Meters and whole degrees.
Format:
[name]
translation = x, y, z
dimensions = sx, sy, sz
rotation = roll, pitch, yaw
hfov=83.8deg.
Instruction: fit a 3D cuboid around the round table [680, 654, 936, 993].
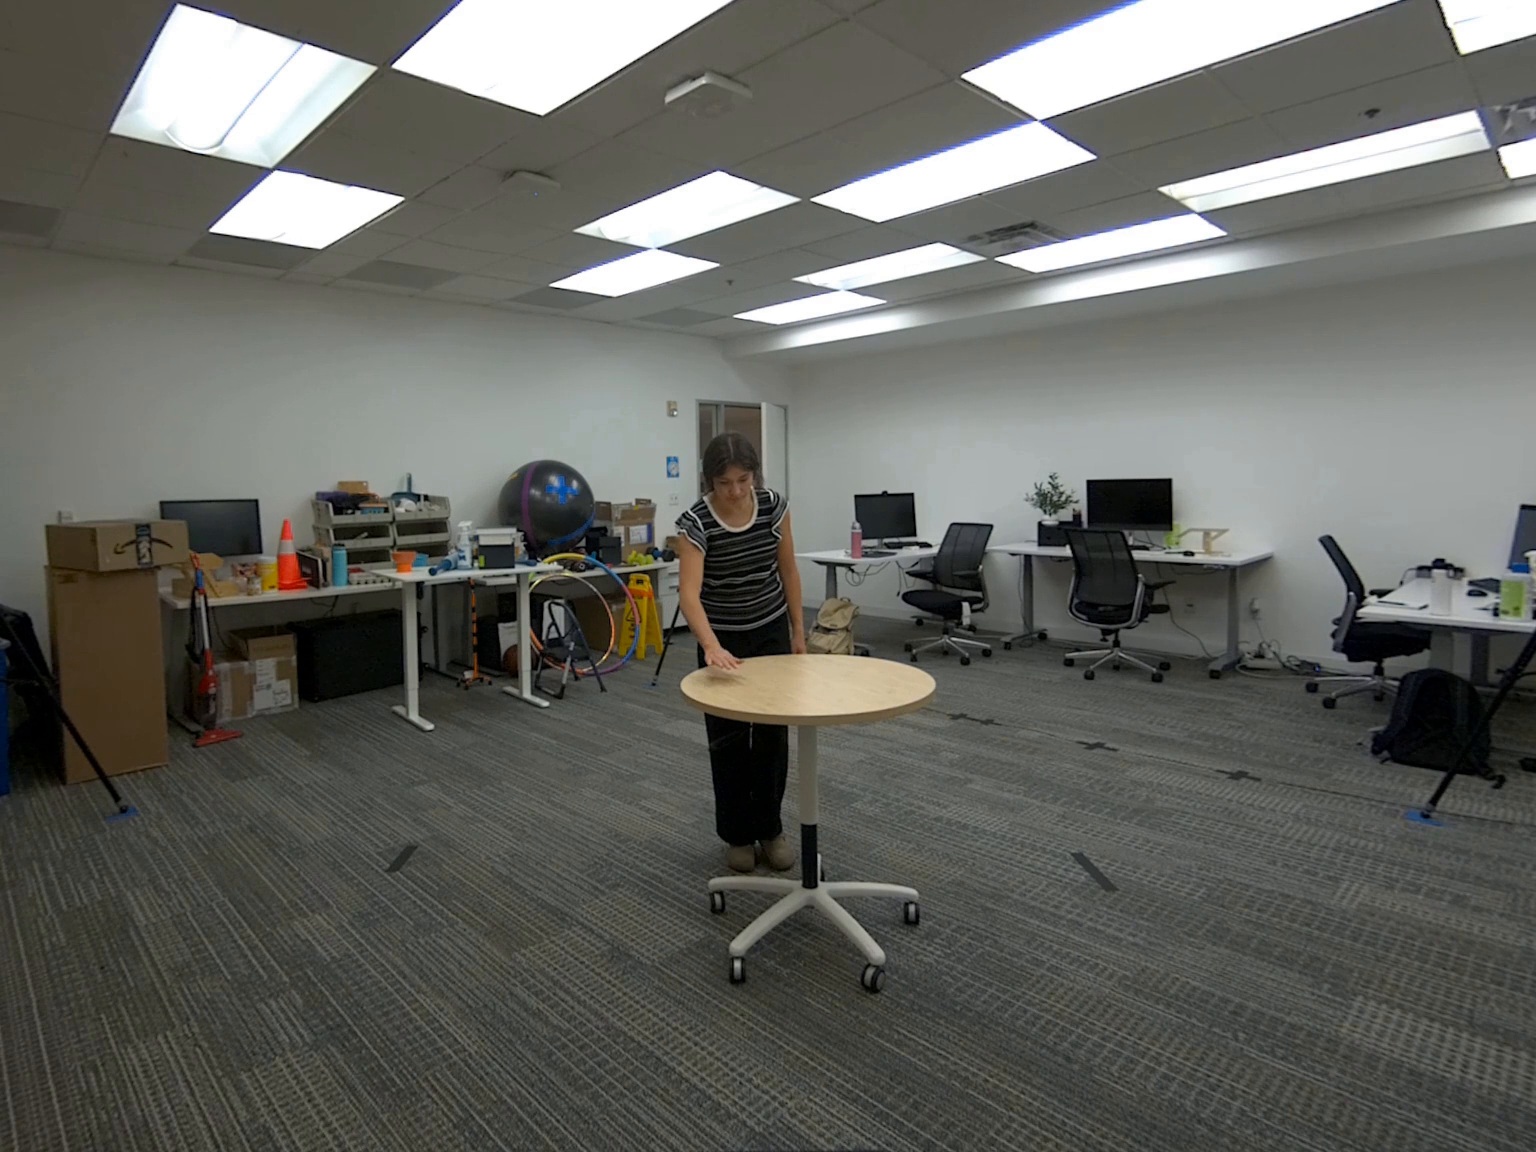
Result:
[round table]
translation = 0.131, 0.710, 2.619
dimensions = 0.763, 0.791, 0.768
rotation = -2, 5, -2
